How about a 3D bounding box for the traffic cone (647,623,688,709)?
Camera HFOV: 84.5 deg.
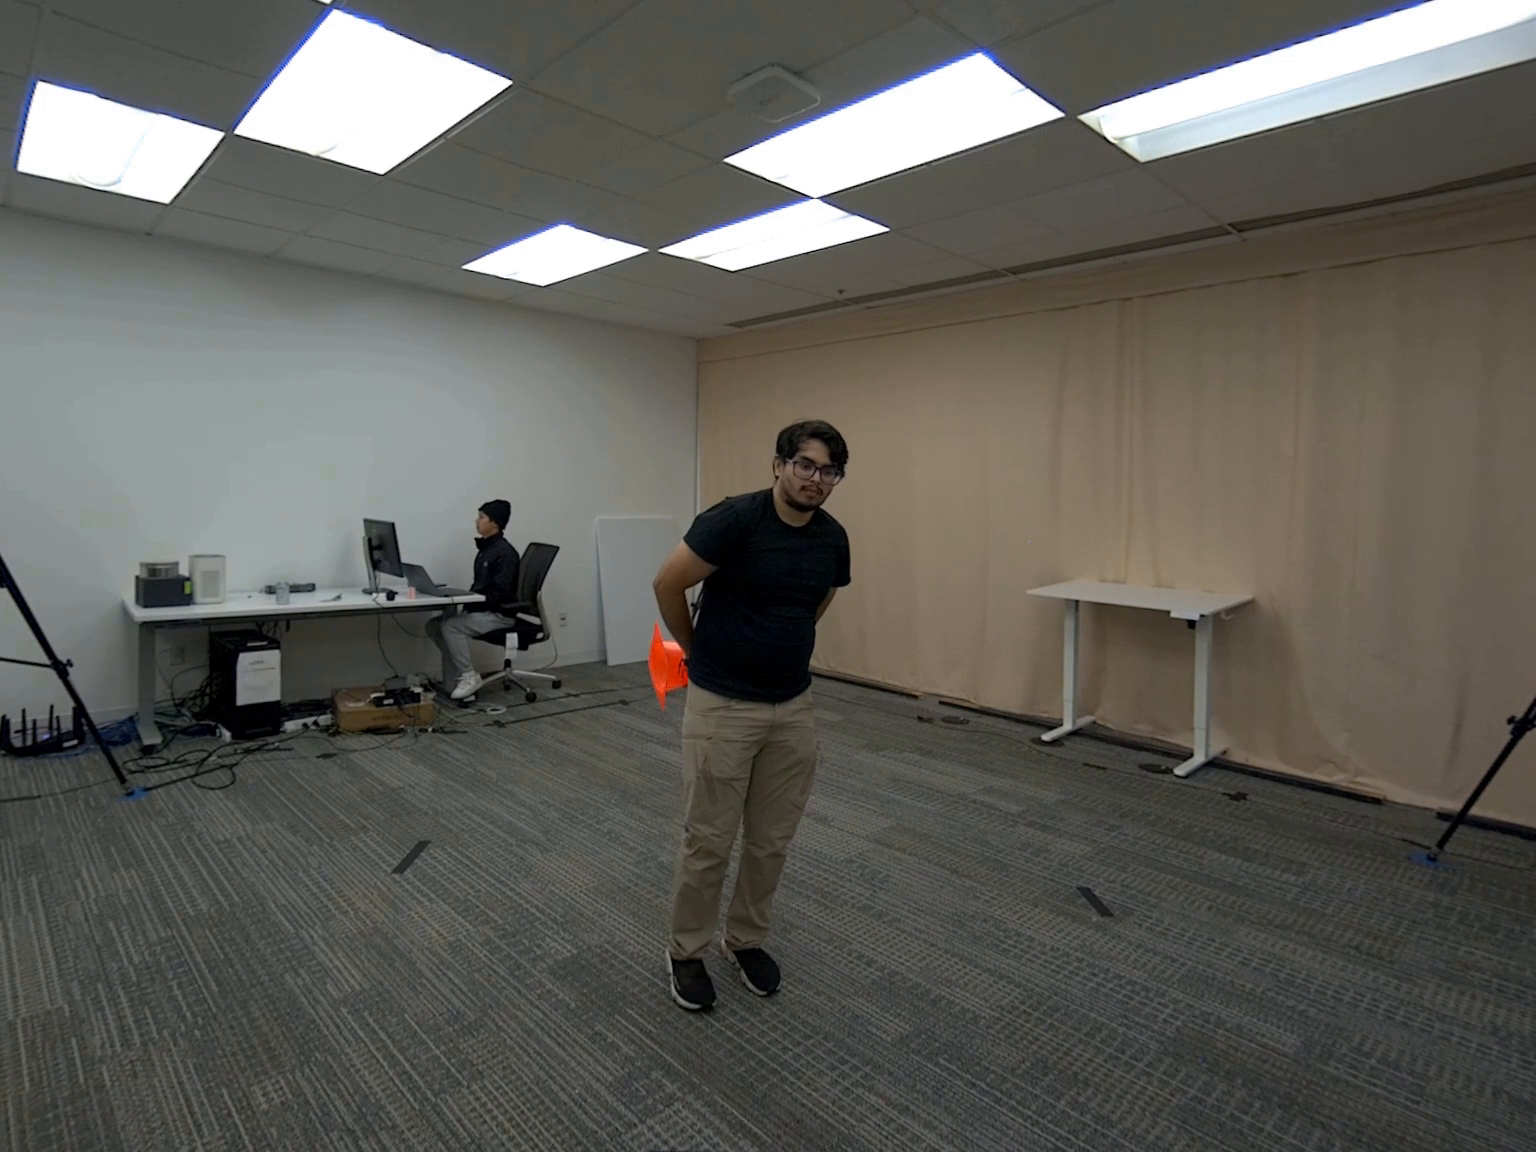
[{"bbox_3d":[-0.162,0.268,2.607,0.378,0.202,0.209,-1,43,-19],"label":"traffic cone"}]
